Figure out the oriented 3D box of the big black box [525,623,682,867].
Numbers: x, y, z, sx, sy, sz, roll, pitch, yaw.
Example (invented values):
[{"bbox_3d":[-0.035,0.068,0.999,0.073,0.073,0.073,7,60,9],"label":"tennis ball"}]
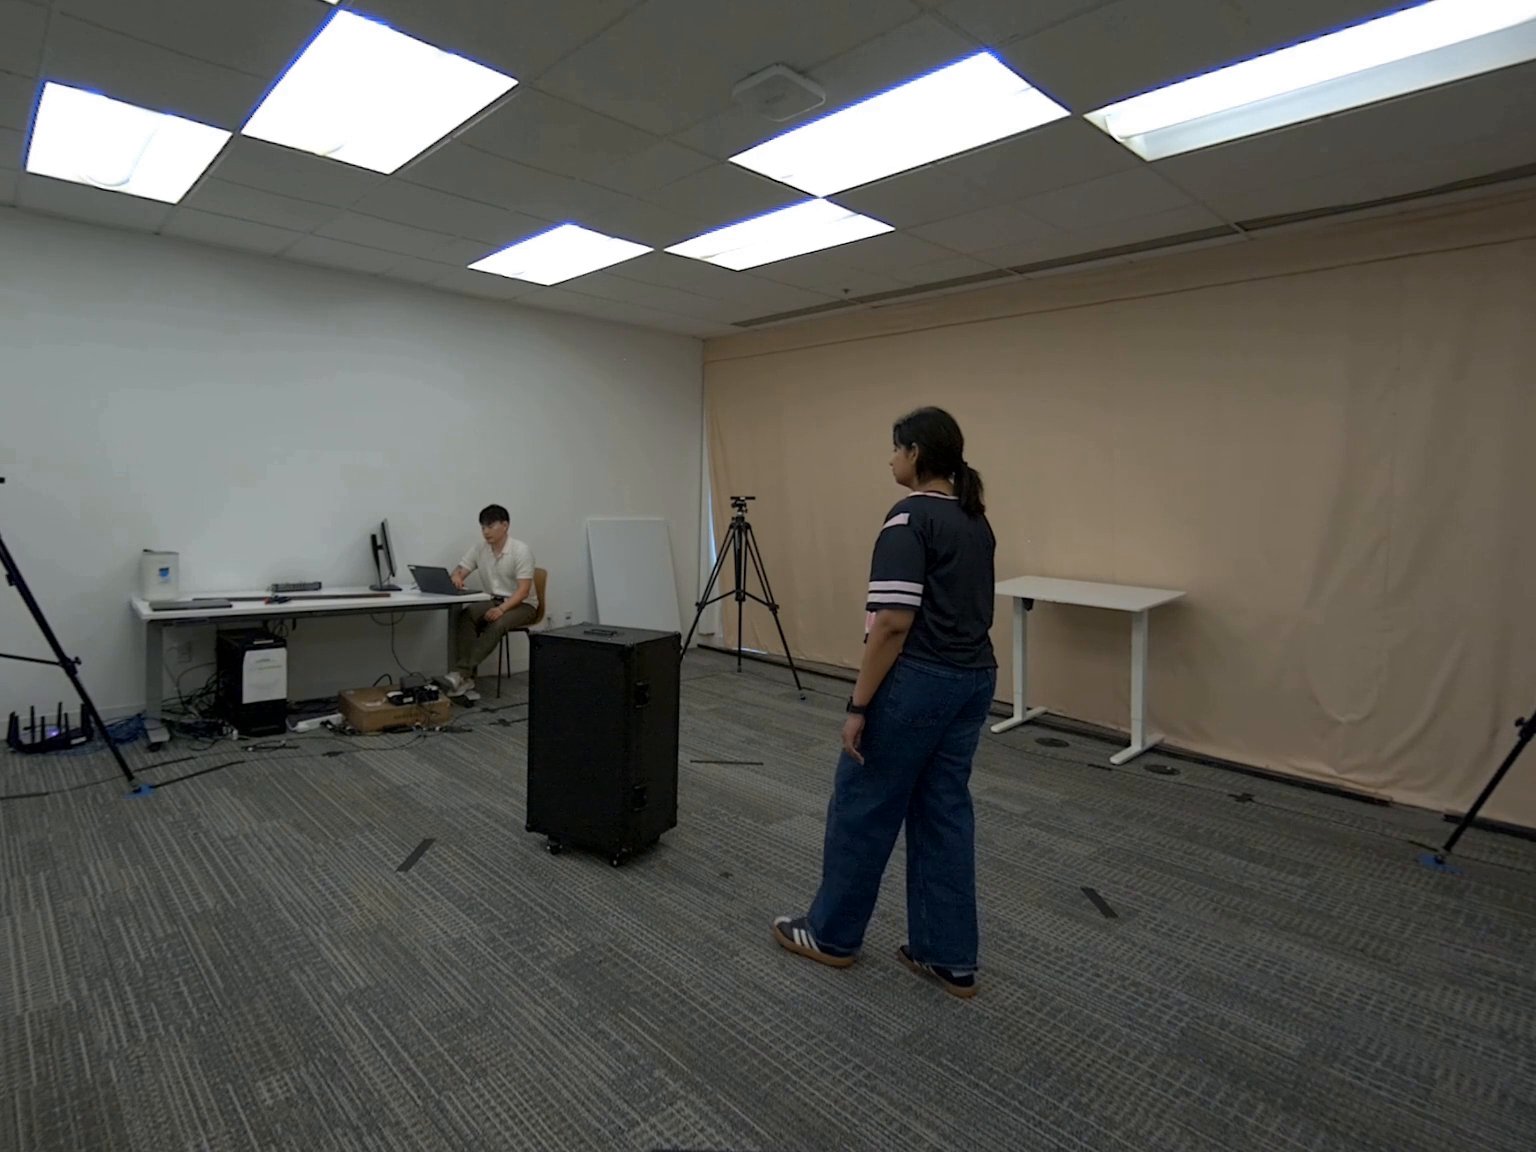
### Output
[{"bbox_3d":[-0.657,0.649,3.331,0.534,0.867,0.378,3,3,27],"label":"big black box"}]
